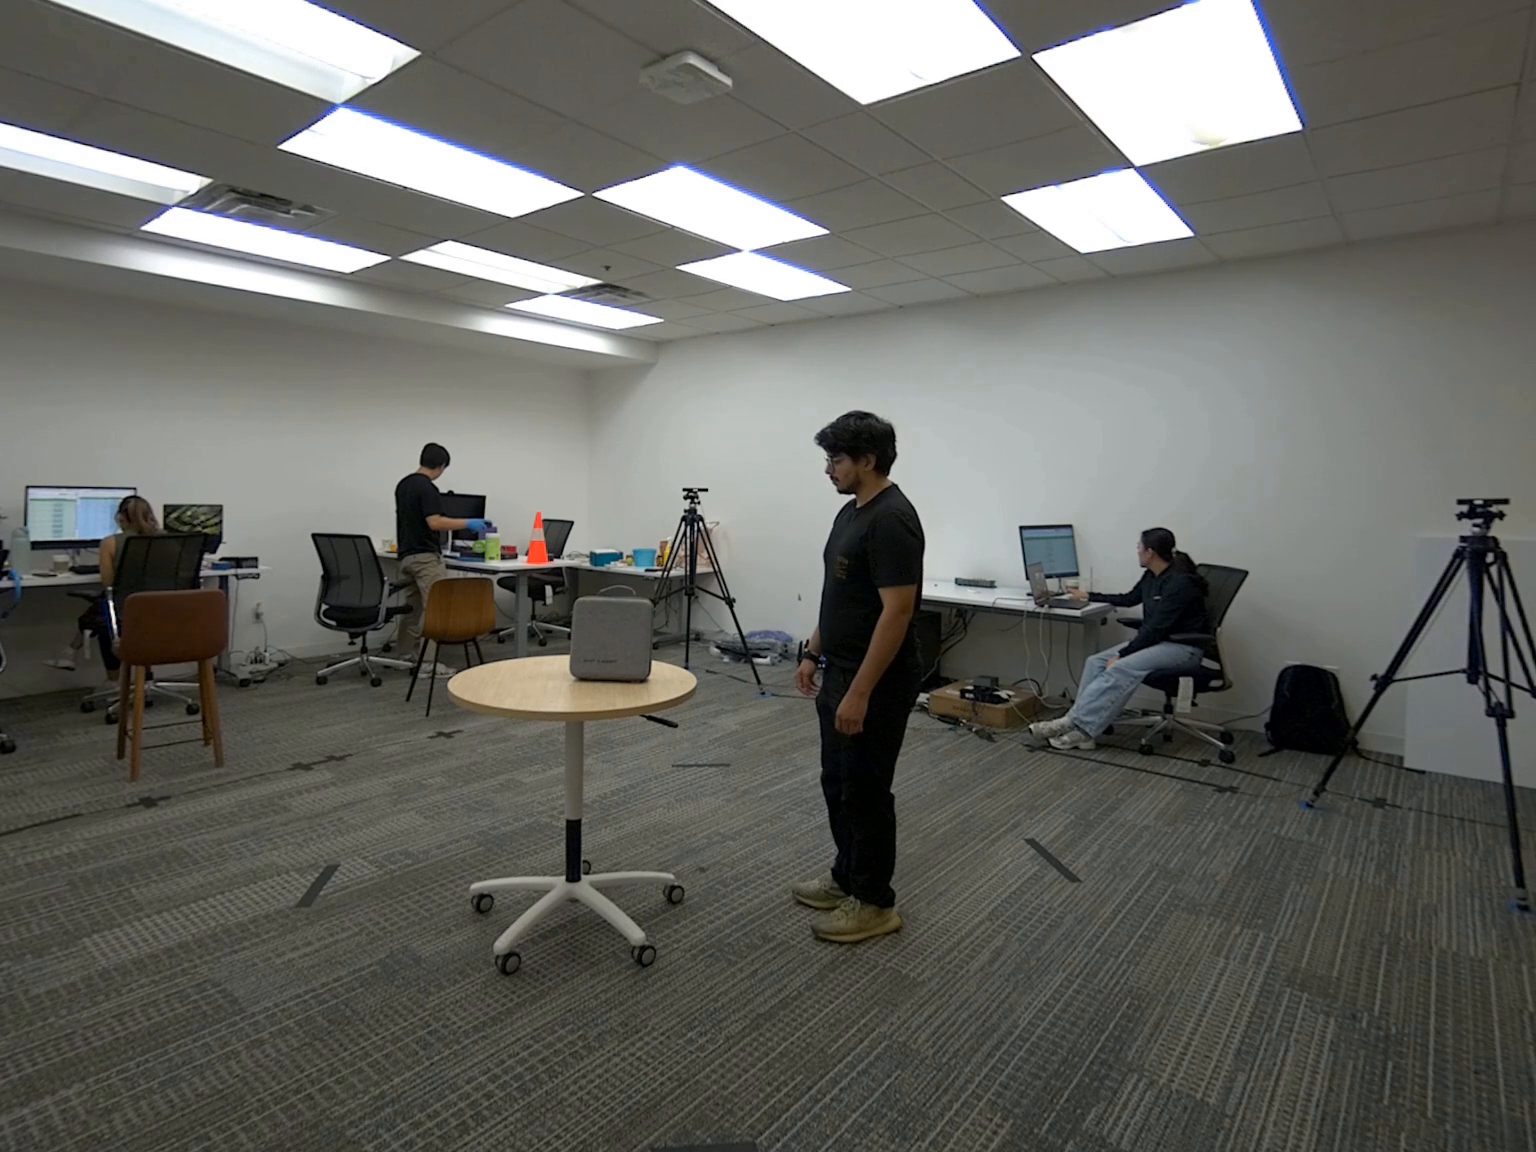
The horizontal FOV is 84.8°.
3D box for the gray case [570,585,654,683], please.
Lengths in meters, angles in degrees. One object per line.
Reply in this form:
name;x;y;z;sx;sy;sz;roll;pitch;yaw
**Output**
gray case;-0.505;0.194;2.693;0.257;0.262;0.103;2;-7;2
